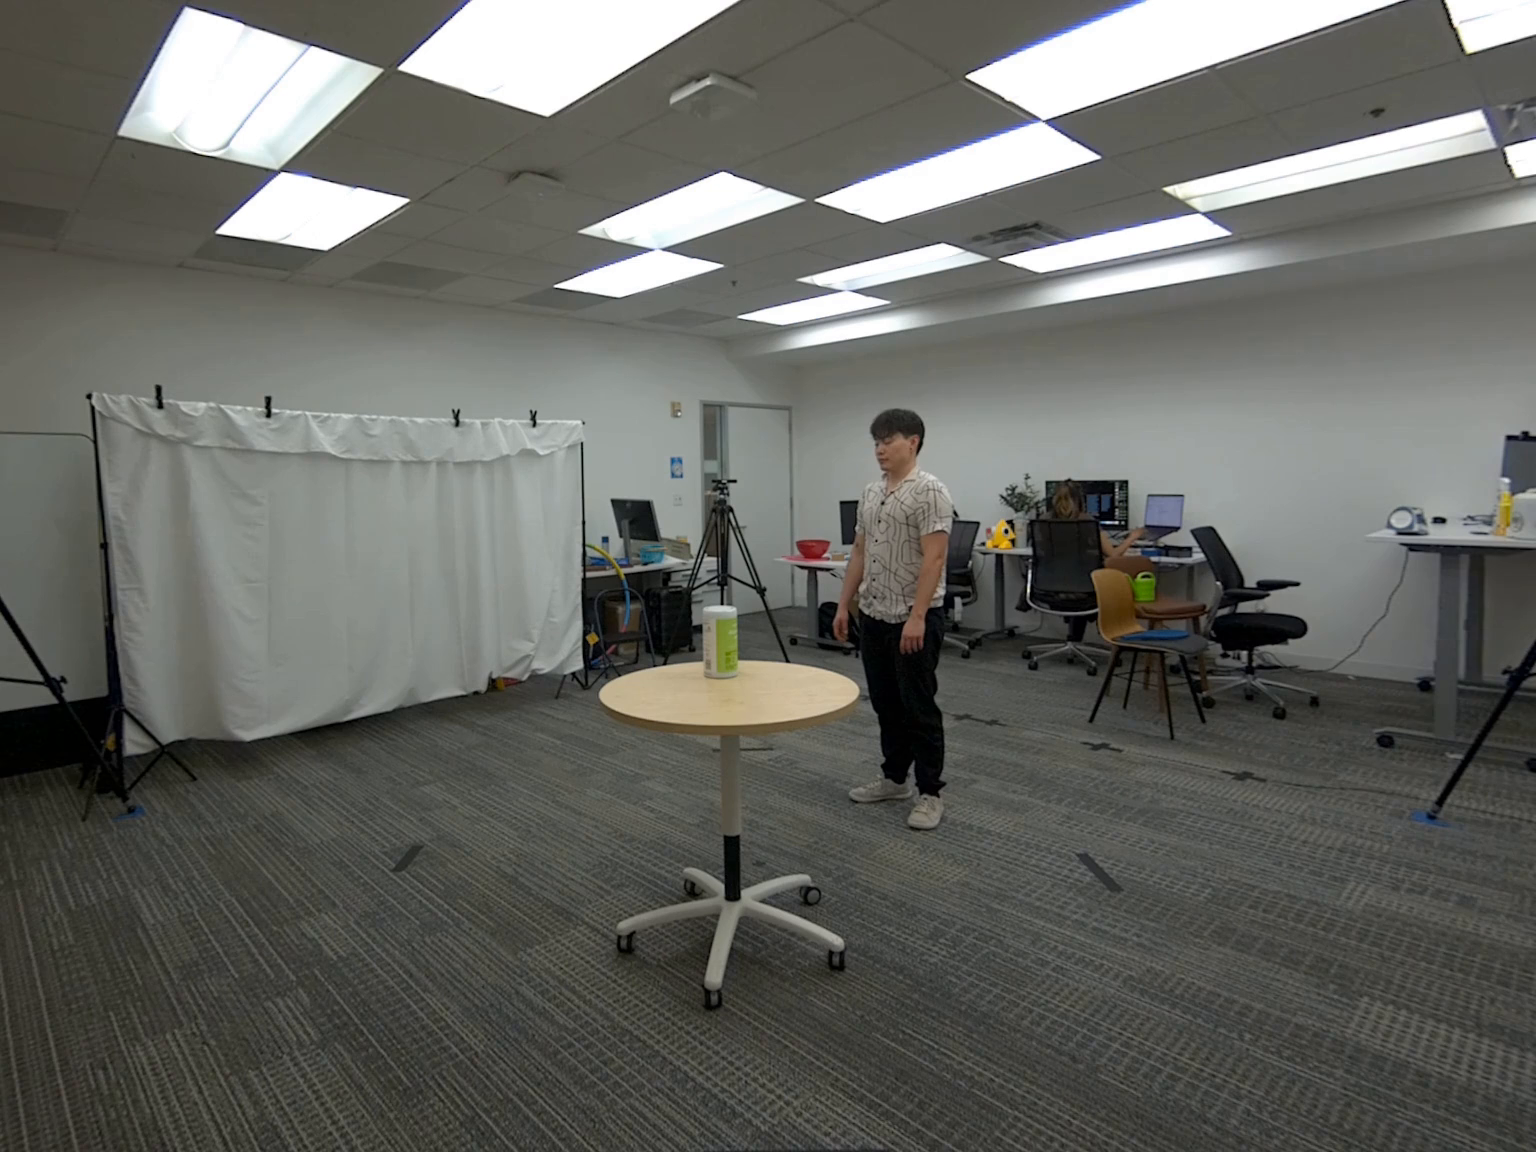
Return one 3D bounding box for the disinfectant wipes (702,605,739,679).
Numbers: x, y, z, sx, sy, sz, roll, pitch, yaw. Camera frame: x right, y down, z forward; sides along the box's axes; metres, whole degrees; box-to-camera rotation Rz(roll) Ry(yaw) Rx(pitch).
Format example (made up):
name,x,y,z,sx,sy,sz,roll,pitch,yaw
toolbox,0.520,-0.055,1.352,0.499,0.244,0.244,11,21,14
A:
name,x,y,z,sx,sy,sz,roll,pitch,yaw
disinfectant wipes,-0.150,0.209,2.699,0.118,0.217,0.118,0,3,-2
